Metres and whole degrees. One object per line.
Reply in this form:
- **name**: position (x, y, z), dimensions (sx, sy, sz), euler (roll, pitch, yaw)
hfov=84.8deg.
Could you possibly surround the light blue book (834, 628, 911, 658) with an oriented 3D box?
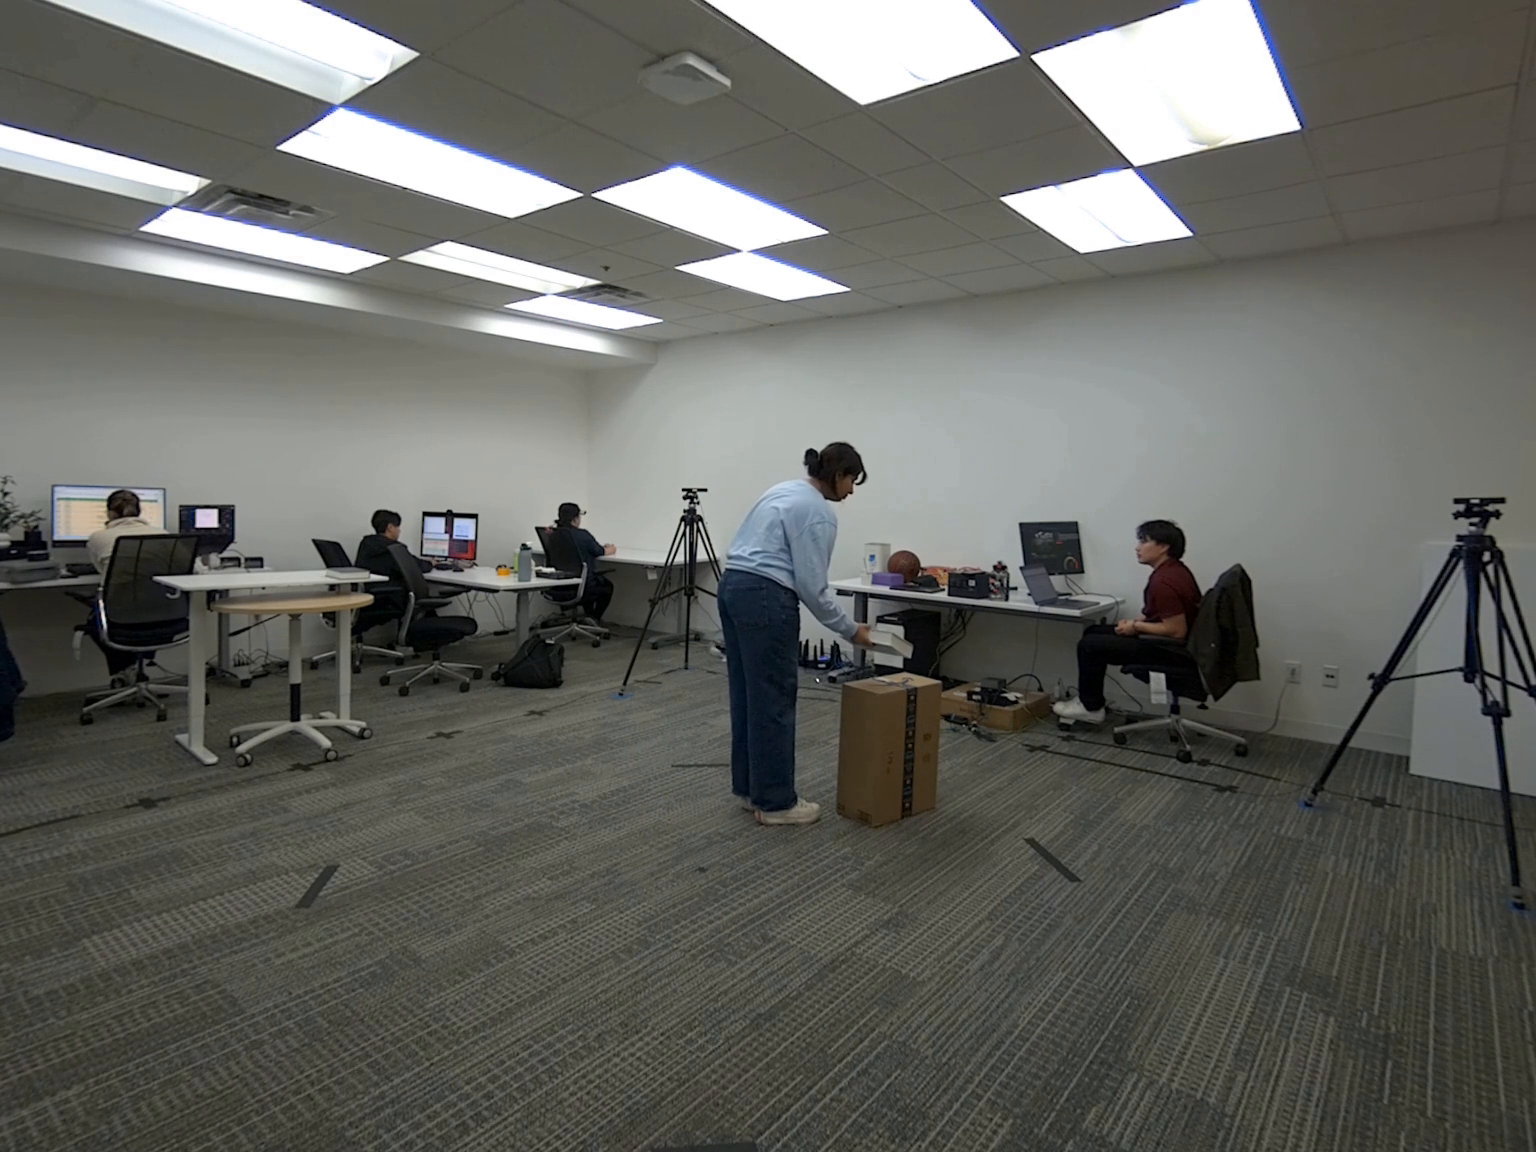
- **light blue book**: position (0.448, 0.272, 3.635), dimensions (0.270, 0.059, 0.183), euler (8, -16, 41)
